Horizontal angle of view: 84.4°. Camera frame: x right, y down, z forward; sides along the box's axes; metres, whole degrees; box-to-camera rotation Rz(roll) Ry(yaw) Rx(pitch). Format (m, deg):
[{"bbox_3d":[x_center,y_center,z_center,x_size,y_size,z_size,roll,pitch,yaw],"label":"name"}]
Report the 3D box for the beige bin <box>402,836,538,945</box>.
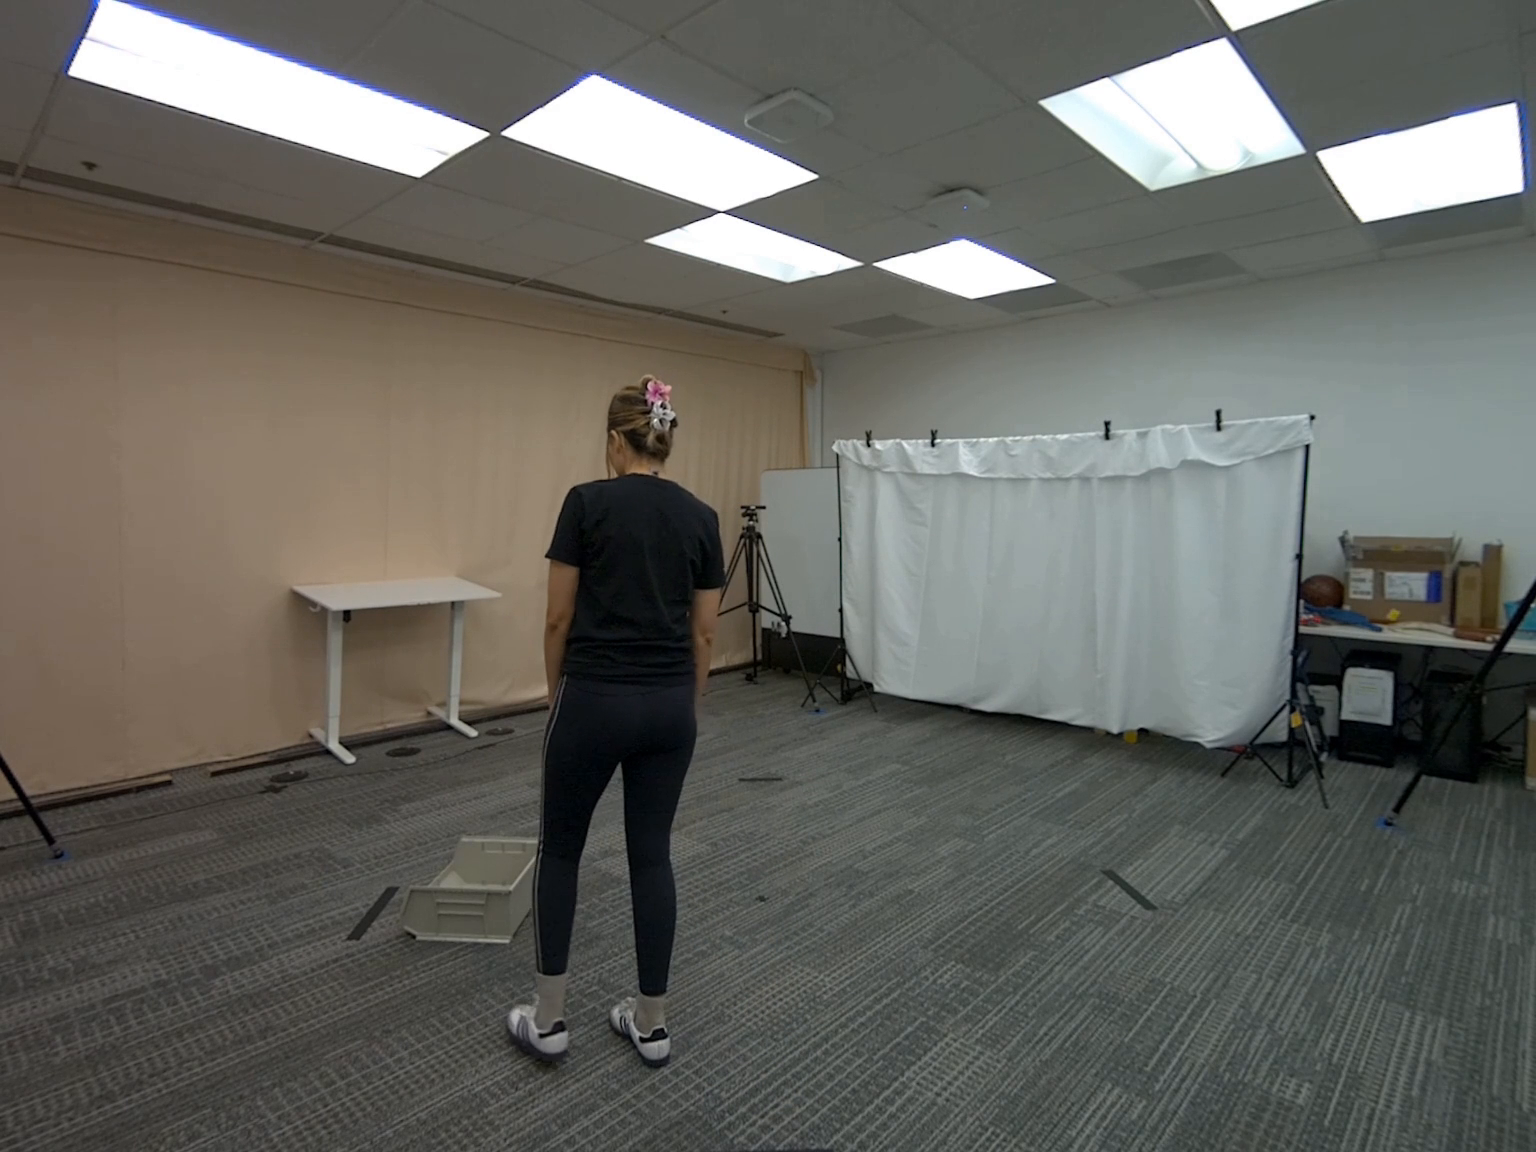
[{"bbox_3d":[-1.001,1.072,2.900,0.379,0.188,0.421,1,4,4],"label":"beige bin"}]
